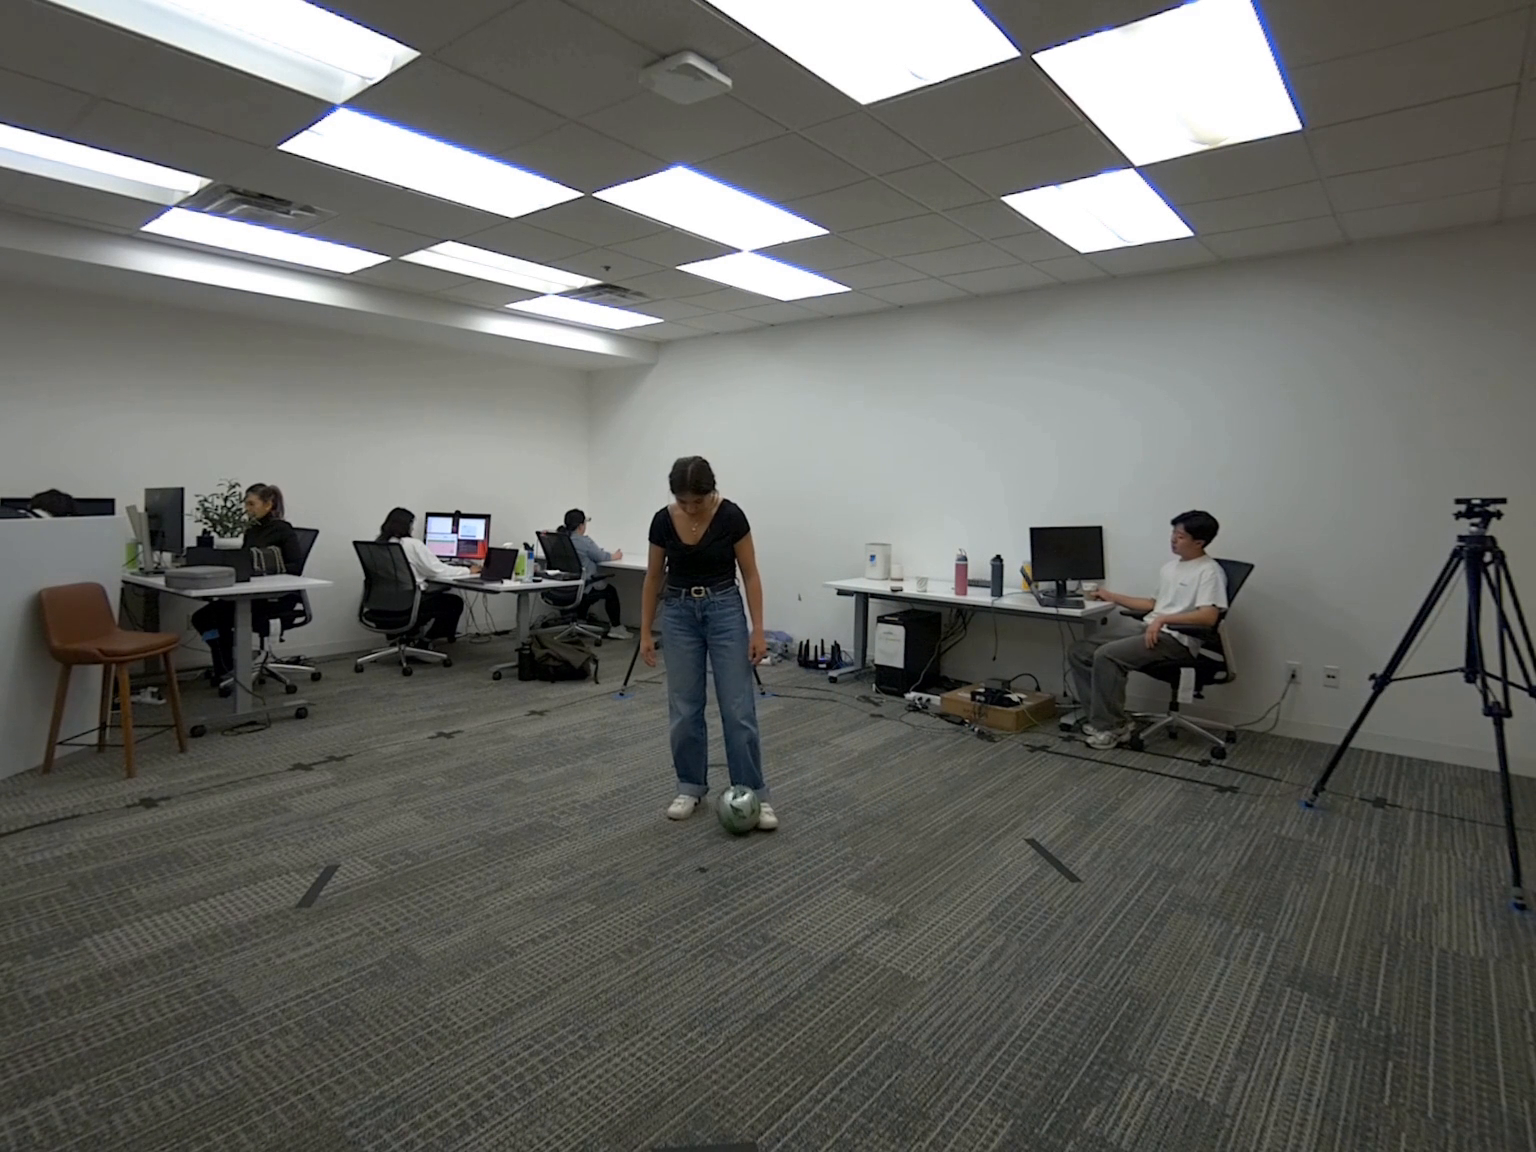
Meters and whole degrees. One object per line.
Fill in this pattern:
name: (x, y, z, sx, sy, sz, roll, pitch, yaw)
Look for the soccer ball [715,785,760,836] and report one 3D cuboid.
soccer ball: (-0.139, 0.944, 3.455, 0.187, 0.187, 0.188, 1, 4, -2)
